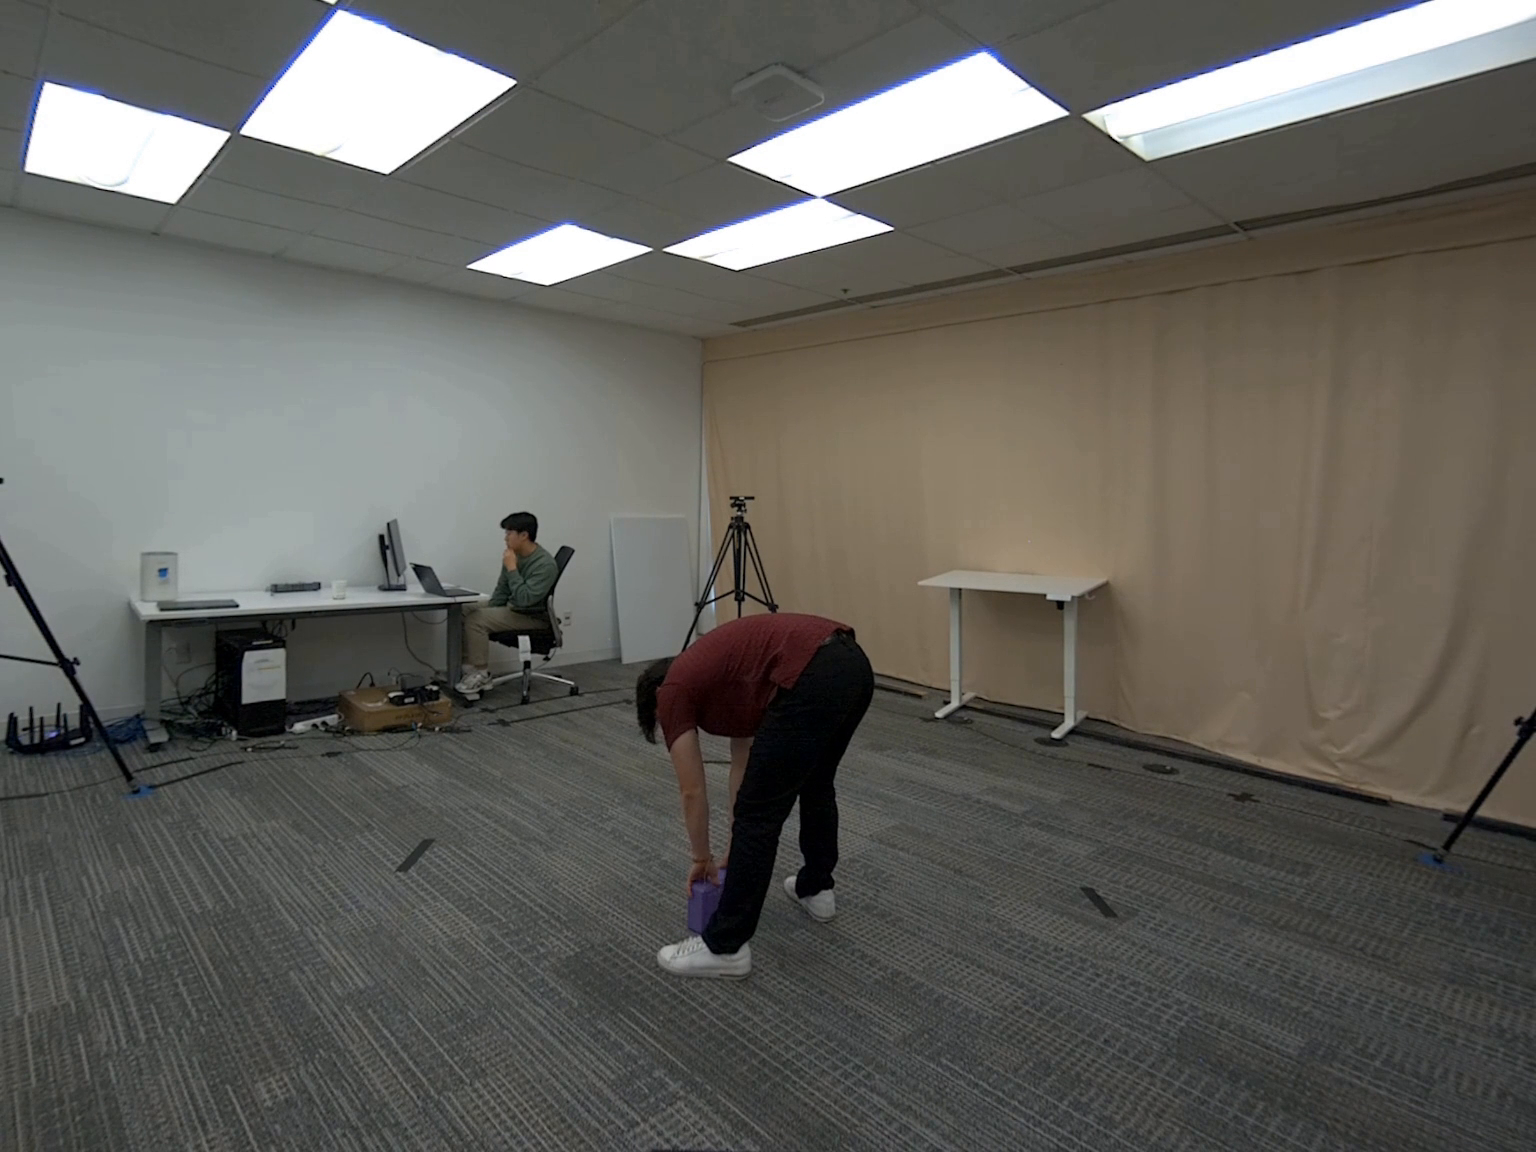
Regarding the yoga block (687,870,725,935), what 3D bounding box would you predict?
[{"bbox_3d":[-0.168,1.067,2.765,0.078,0.148,0.224,7,6,35],"label":"yoga block"}]
